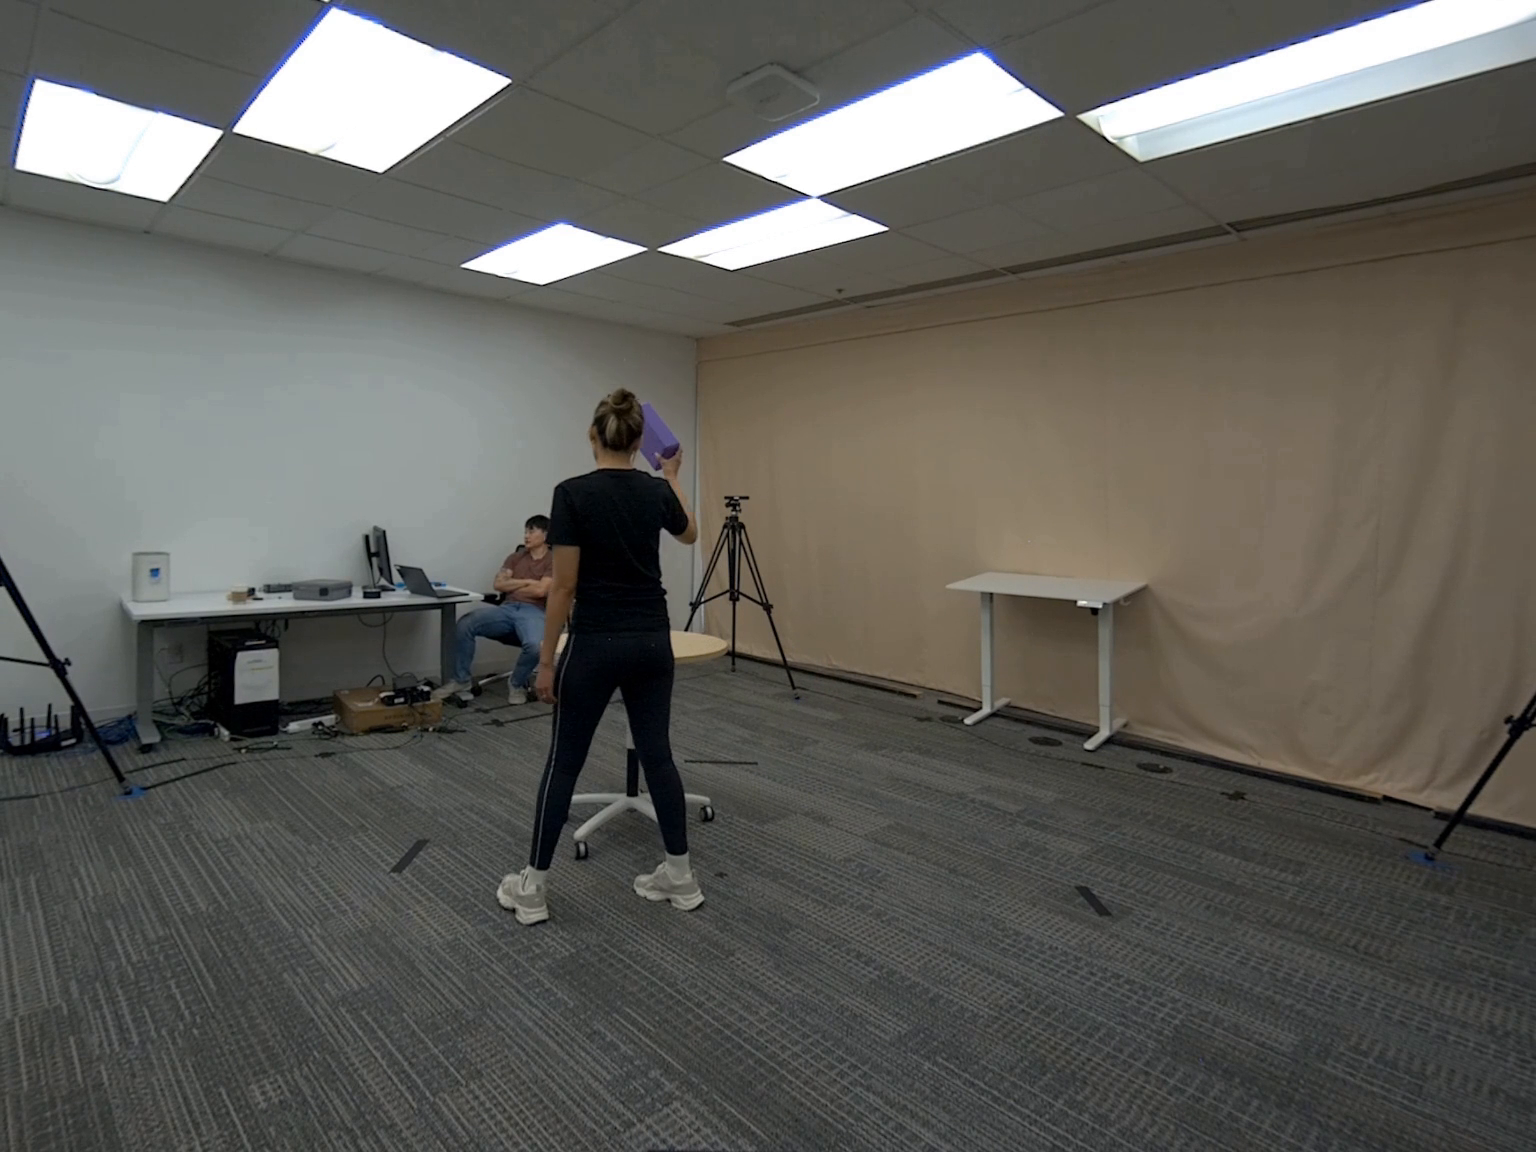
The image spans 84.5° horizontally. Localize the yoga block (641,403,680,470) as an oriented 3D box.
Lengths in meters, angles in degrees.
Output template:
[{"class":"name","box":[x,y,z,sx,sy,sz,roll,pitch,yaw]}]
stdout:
[{"class":"yoga block","box":[-0.462,-0.544,3.279,0.075,0.233,0.148,-23,-21,-37]}]
